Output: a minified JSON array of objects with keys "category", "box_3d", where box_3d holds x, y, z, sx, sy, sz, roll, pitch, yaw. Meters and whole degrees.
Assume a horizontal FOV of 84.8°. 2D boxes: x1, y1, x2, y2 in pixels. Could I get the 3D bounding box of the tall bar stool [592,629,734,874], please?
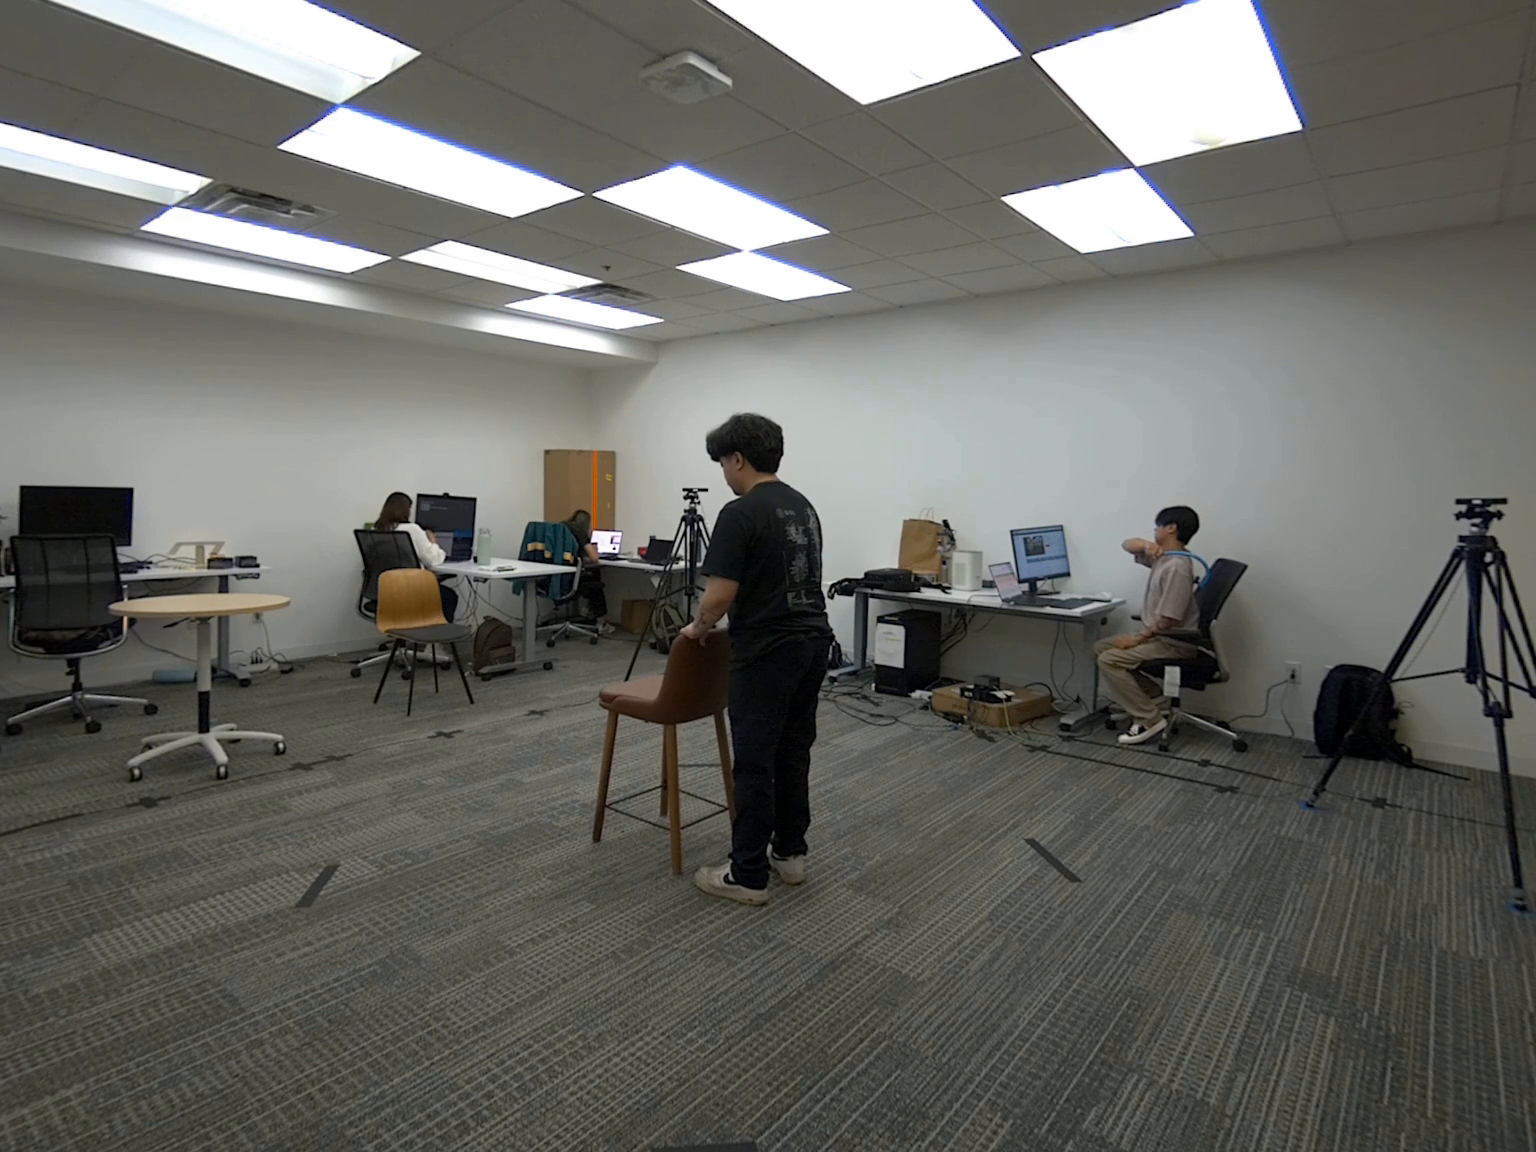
[{"category":"tall bar stool","box_3d":[-0.387,0.608,3.314,0.484,0.886,0.443,6,6,39]}]
